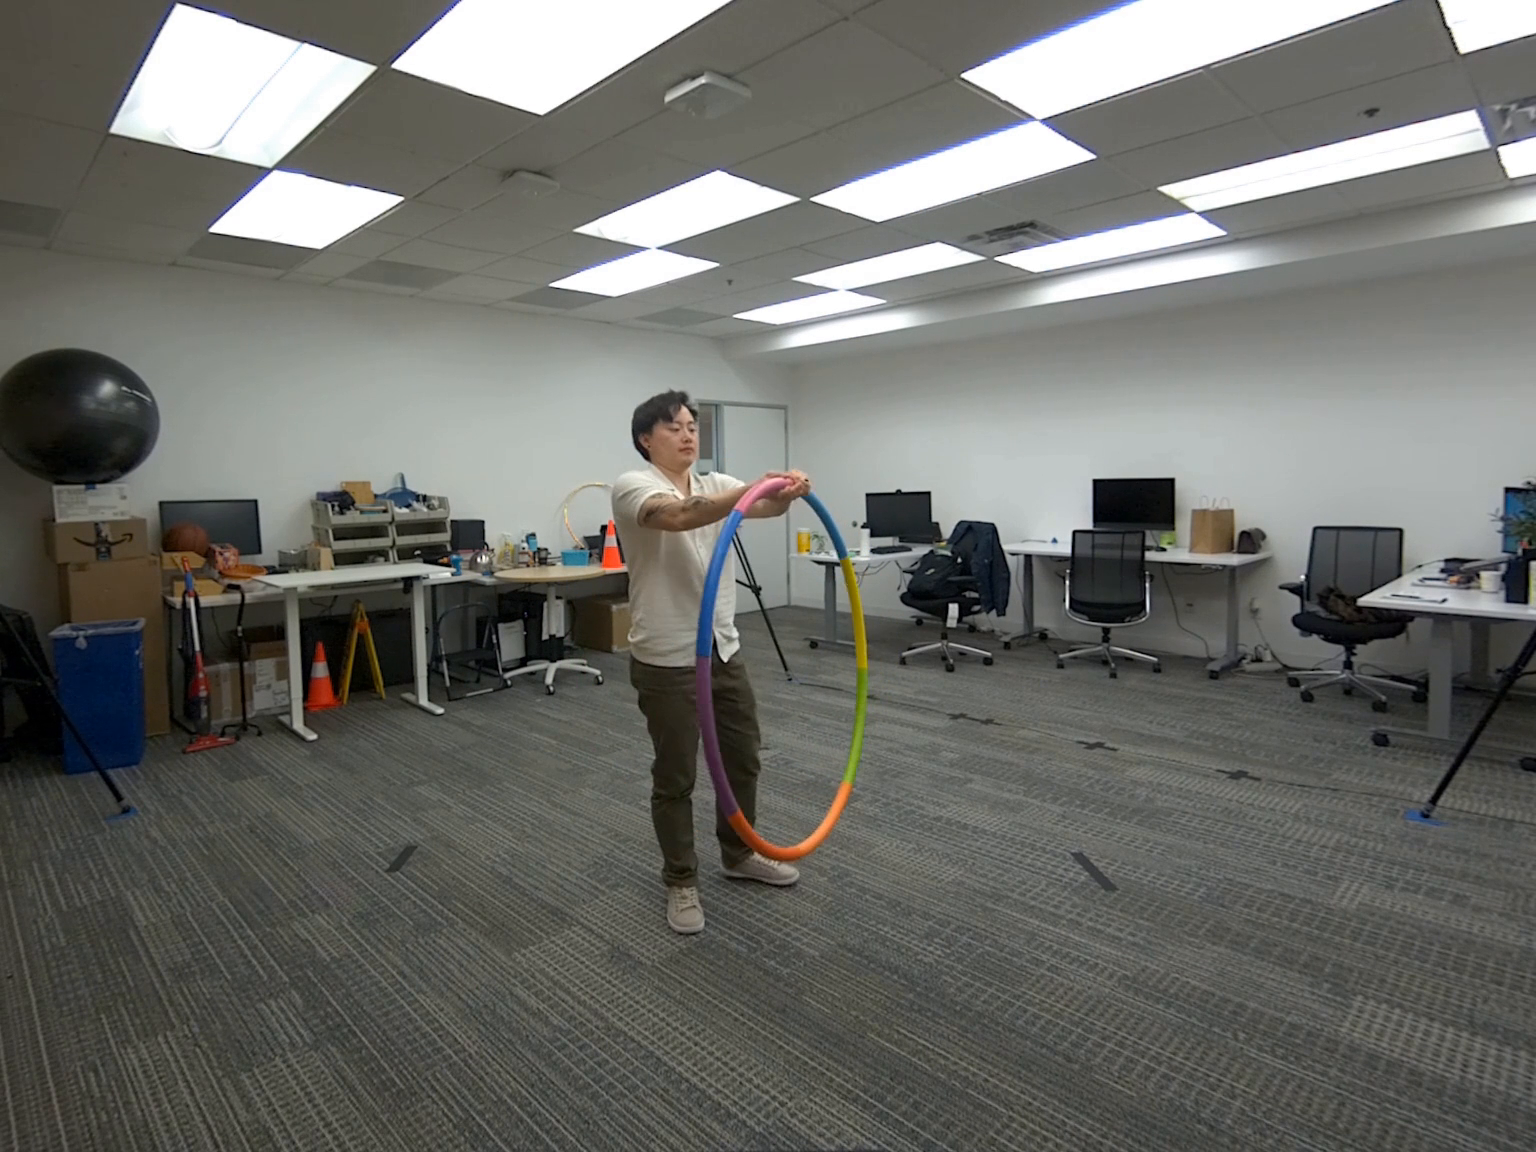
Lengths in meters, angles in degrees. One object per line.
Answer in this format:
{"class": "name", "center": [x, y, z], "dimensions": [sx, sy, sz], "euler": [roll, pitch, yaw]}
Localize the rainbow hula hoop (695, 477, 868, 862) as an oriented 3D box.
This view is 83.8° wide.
{"class": "rainbow hula hoop", "center": [0.072, 0.229, 2.291], "dimensions": [0.036, 0.977, 0.958], "euler": [-5, 2, 27]}
